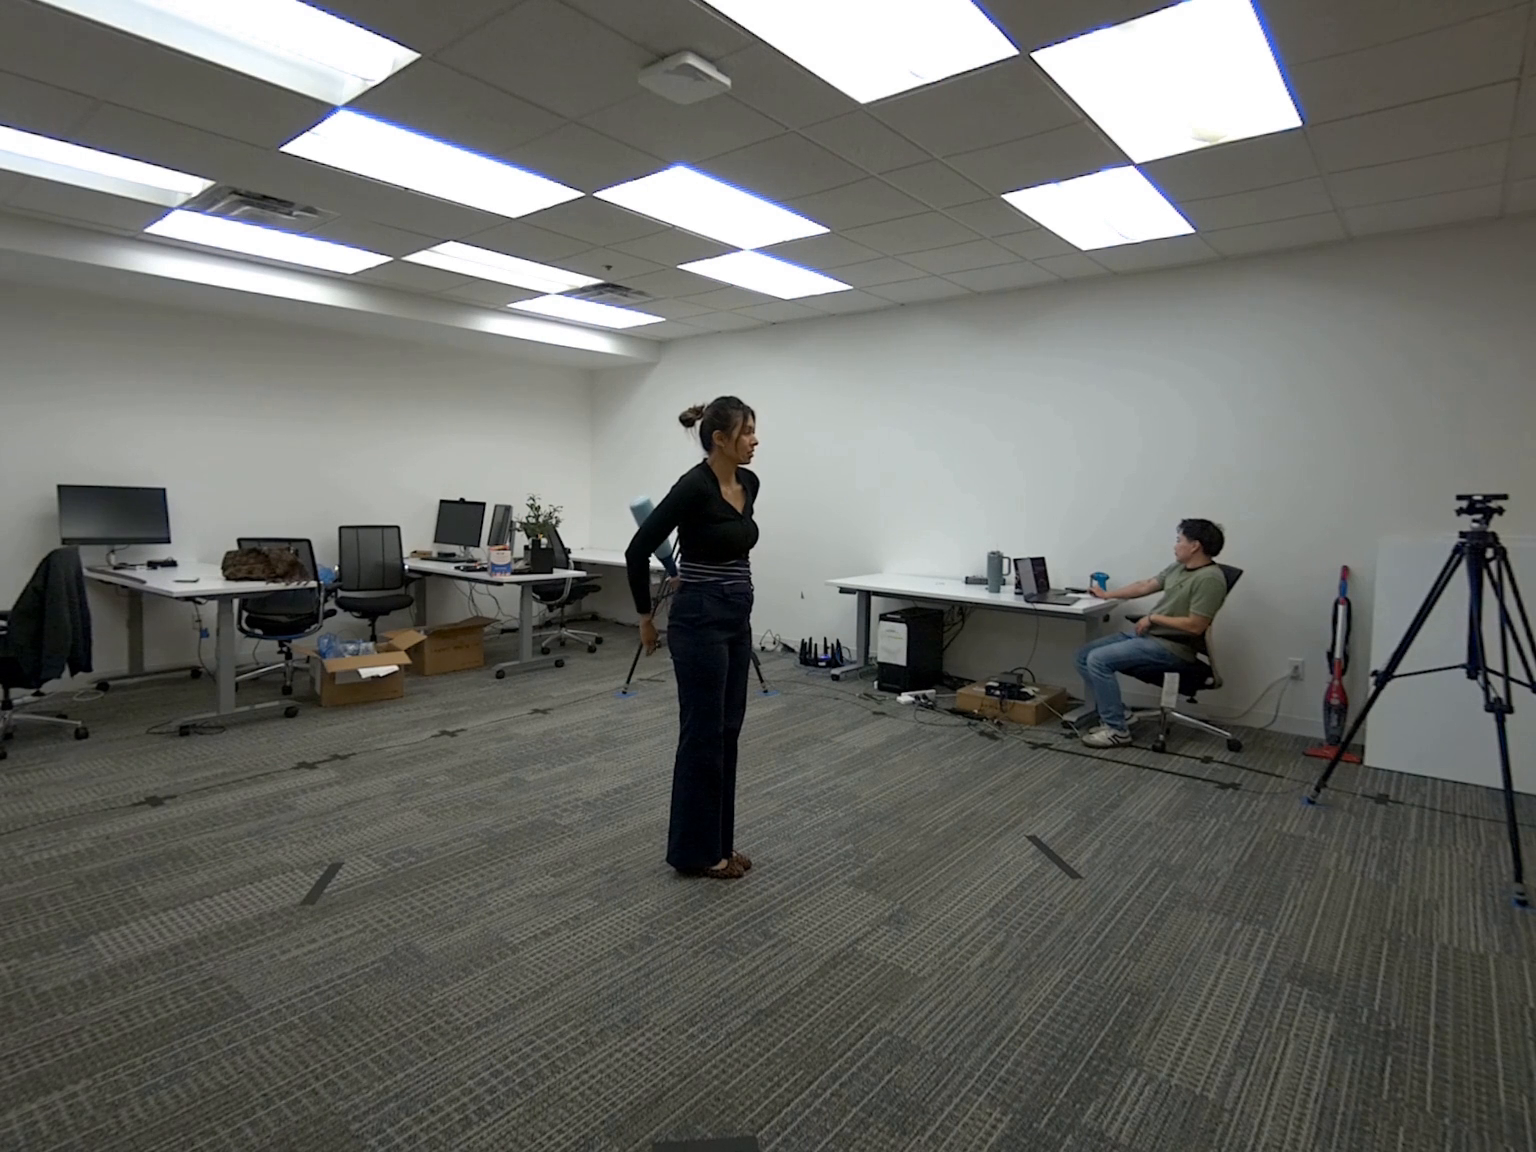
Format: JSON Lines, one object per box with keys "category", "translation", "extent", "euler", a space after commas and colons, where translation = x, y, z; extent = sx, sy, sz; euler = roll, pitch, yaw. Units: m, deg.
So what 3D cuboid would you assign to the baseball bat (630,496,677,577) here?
{"category": "baseball bat", "translation": [-0.410, -0.057, 3.363], "extent": [0.089, 0.528, 0.091], "euler": [-19, 23, 7]}
